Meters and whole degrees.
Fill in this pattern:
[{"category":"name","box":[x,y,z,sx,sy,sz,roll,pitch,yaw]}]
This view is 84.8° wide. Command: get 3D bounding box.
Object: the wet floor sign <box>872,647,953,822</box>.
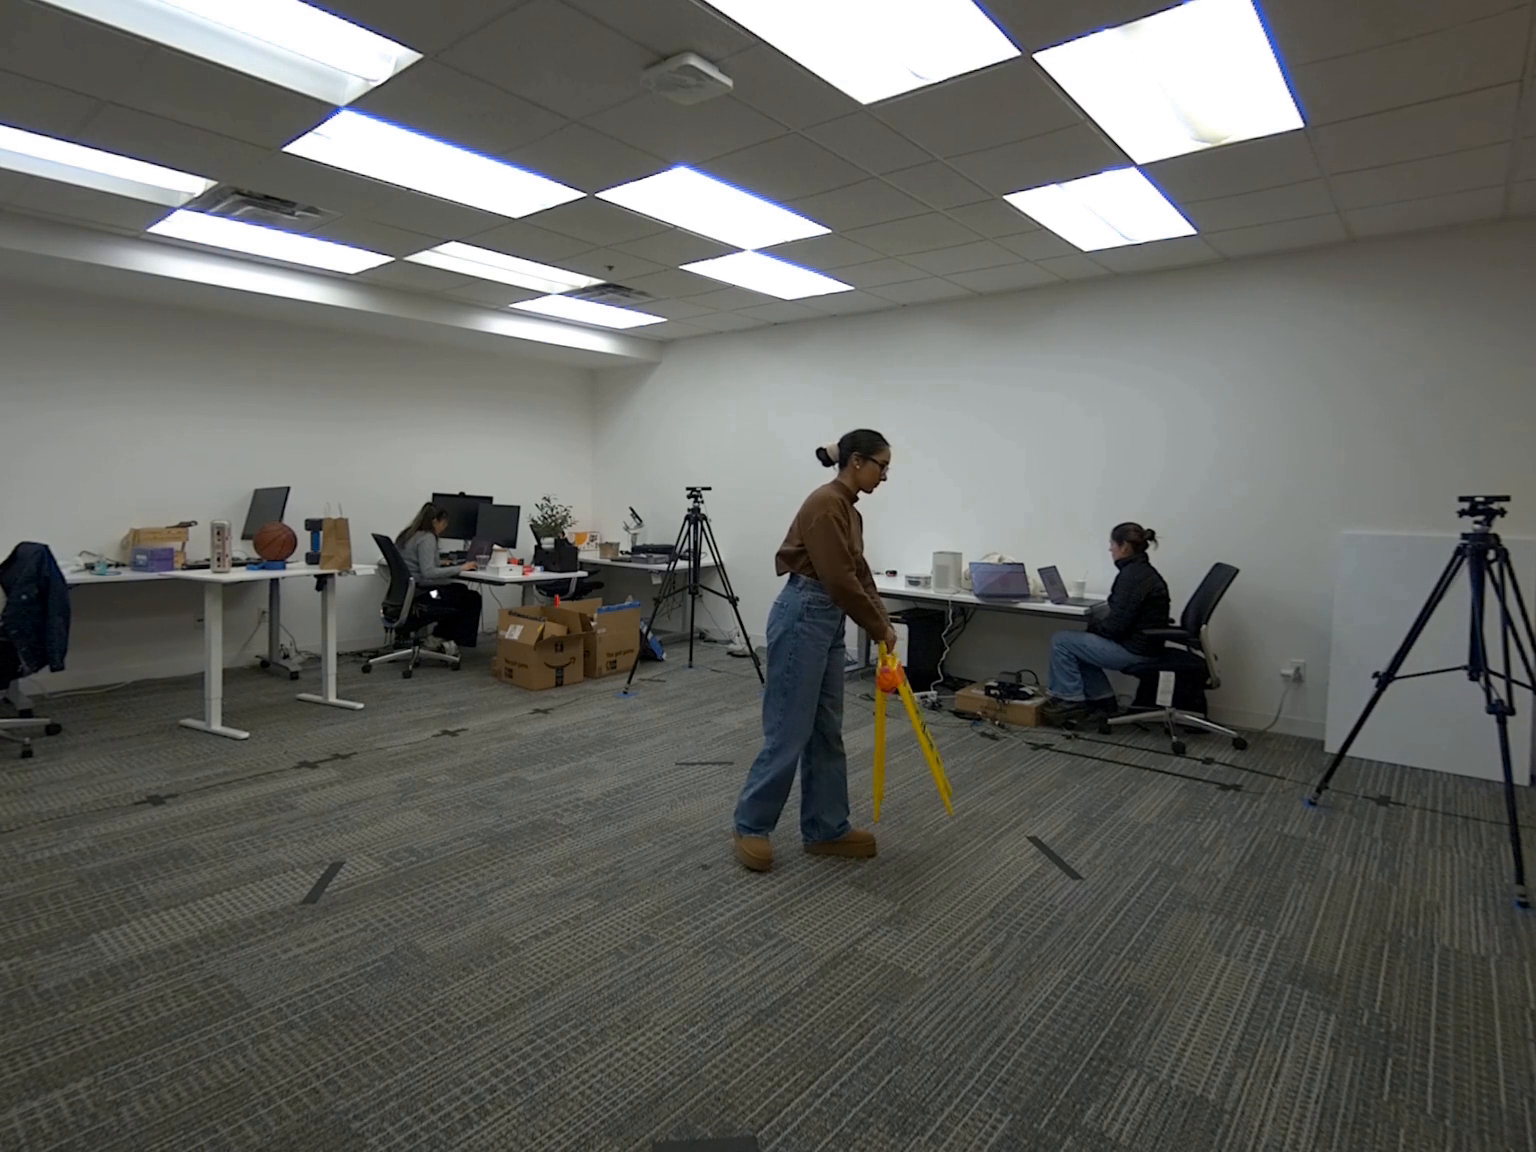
[{"category":"wet floor sign","box":[0.477,0.551,3.178,0.293,0.644,0.280,-10,3,12]}]
